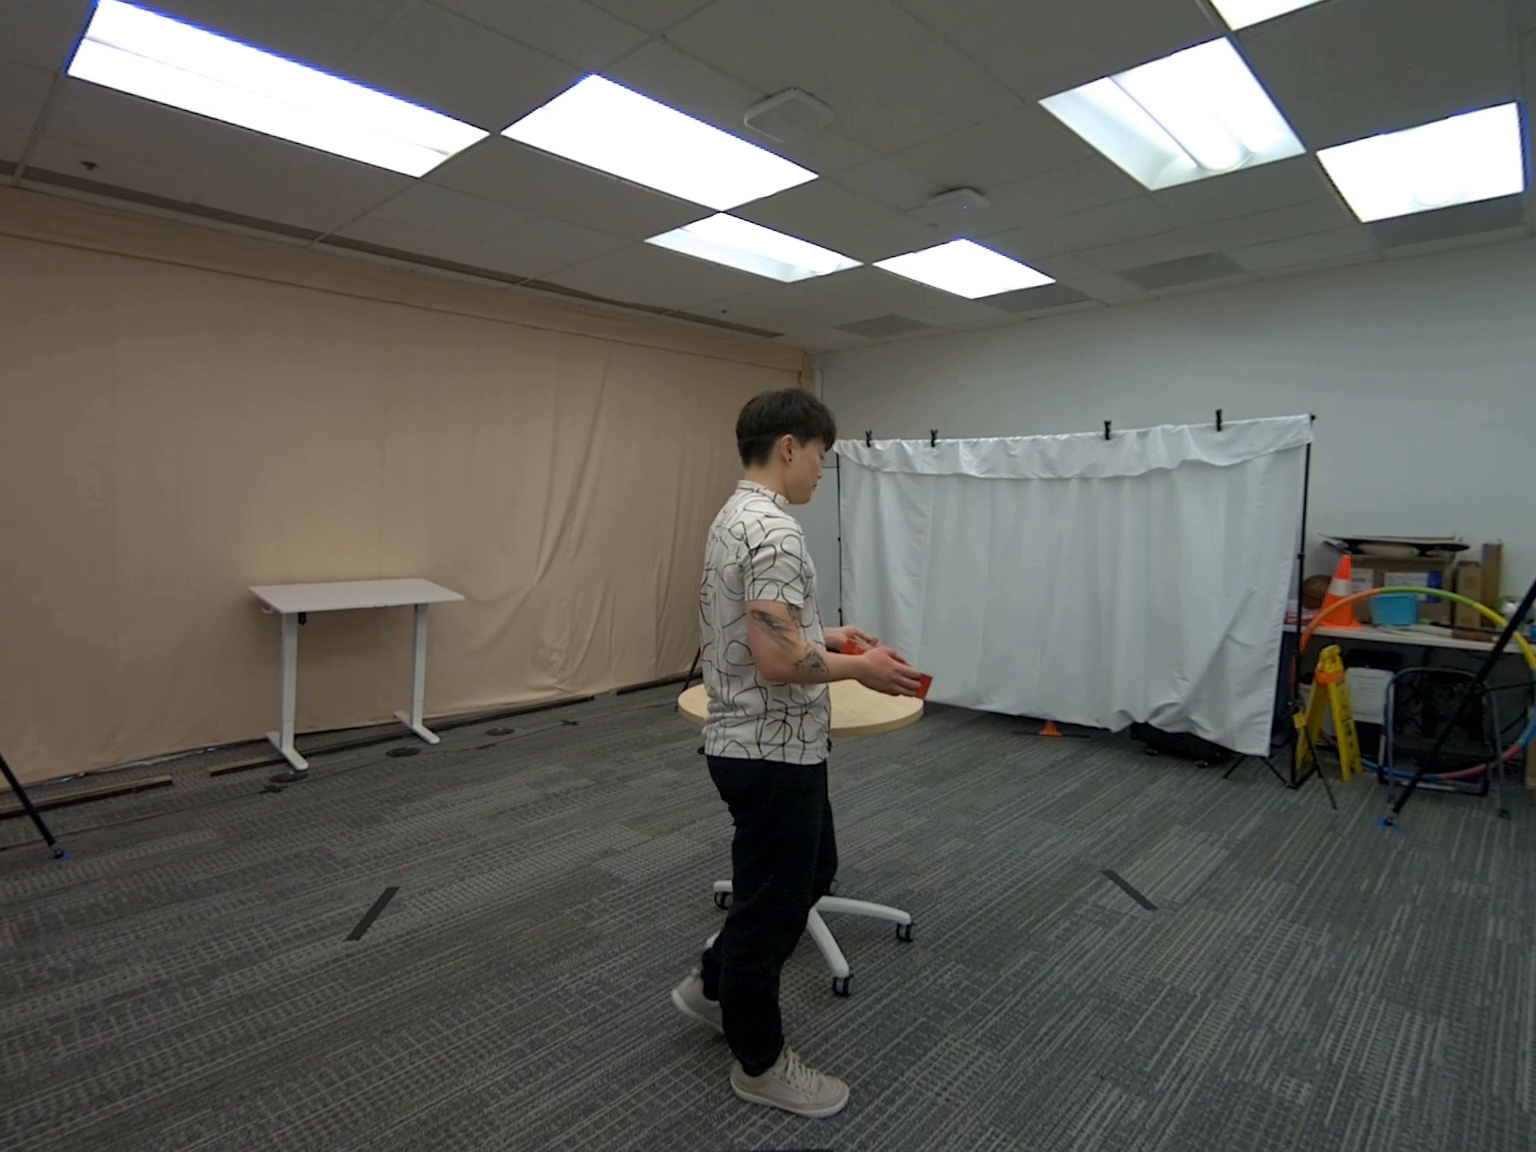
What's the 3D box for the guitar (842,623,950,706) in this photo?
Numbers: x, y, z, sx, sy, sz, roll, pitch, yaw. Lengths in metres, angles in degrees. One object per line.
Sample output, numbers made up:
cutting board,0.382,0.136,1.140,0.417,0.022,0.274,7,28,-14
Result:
guitar,0.293,0.210,2.134,0.193,0.071,0.498,21,2,-1
